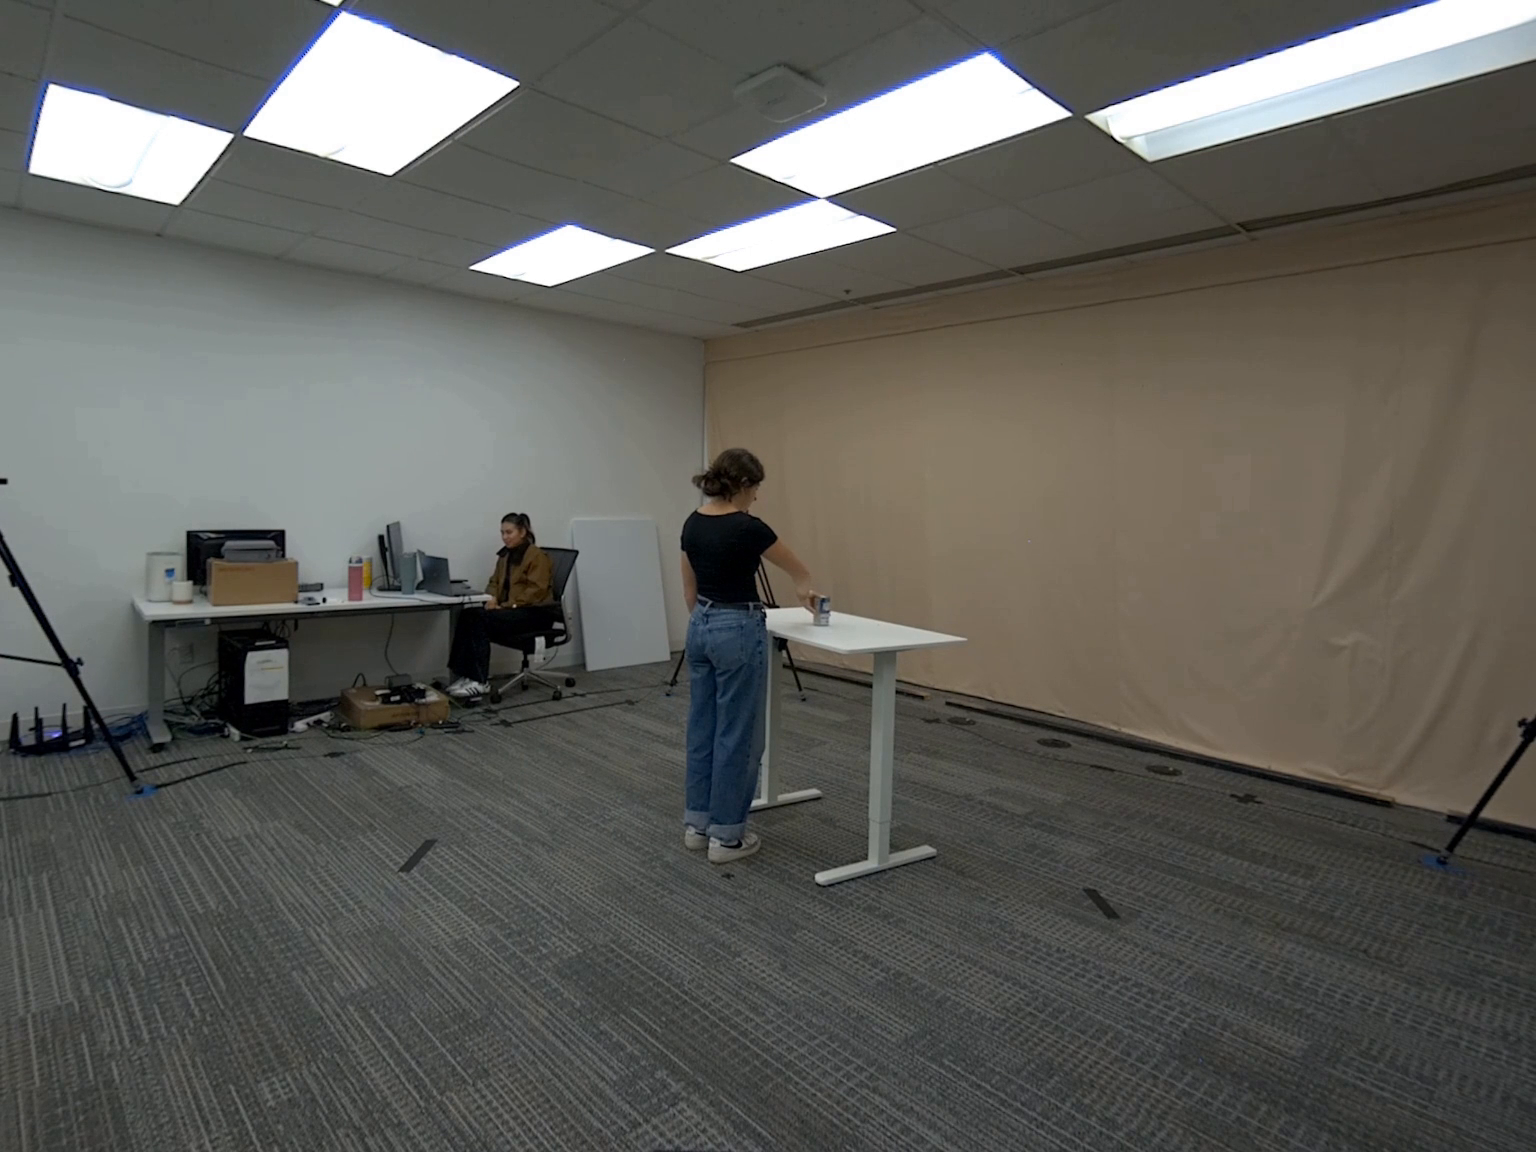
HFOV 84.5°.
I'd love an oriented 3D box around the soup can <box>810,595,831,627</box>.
[{"bbox_3d":[0.202,0.139,3.460,0.067,0.121,0.068,1,10,-2],"label":"soup can"}]
